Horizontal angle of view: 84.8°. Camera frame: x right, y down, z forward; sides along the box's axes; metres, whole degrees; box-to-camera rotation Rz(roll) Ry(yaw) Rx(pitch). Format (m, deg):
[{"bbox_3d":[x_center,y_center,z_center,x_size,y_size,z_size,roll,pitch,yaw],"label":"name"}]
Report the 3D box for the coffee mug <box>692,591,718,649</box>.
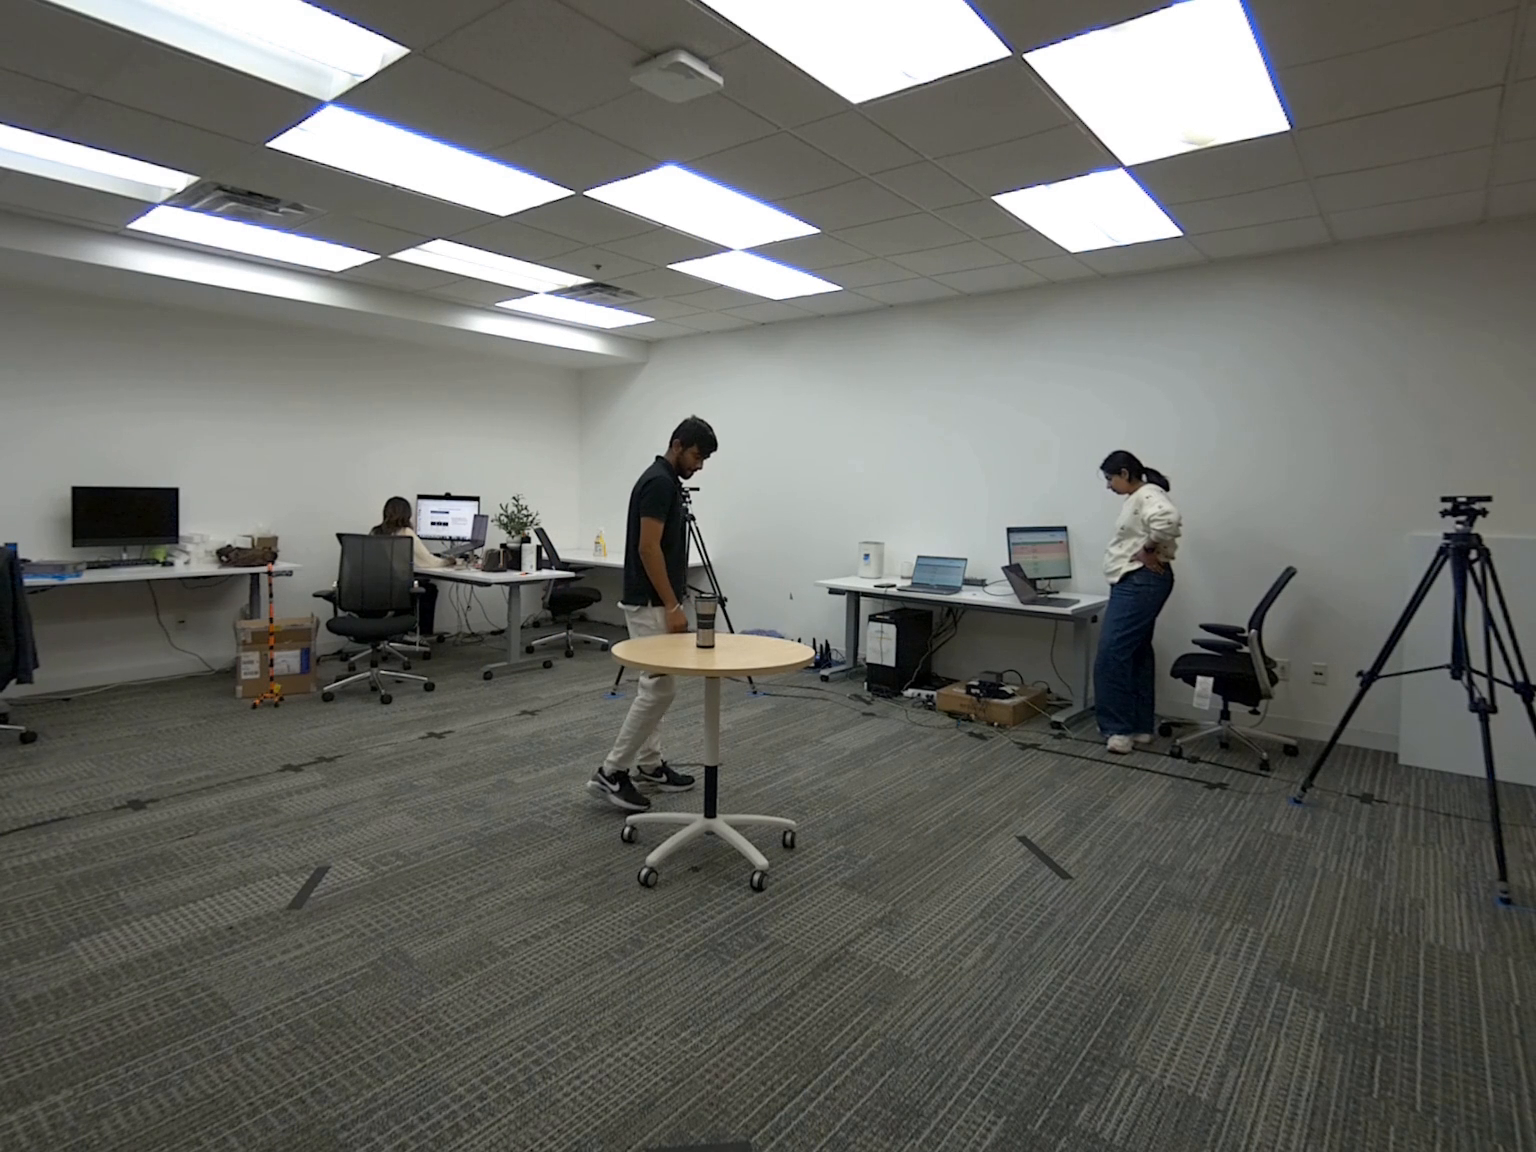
[{"bbox_3d":[-0.241,0.169,3.270,0.089,0.202,0.121,-2,6,13],"label":"coffee mug"}]
